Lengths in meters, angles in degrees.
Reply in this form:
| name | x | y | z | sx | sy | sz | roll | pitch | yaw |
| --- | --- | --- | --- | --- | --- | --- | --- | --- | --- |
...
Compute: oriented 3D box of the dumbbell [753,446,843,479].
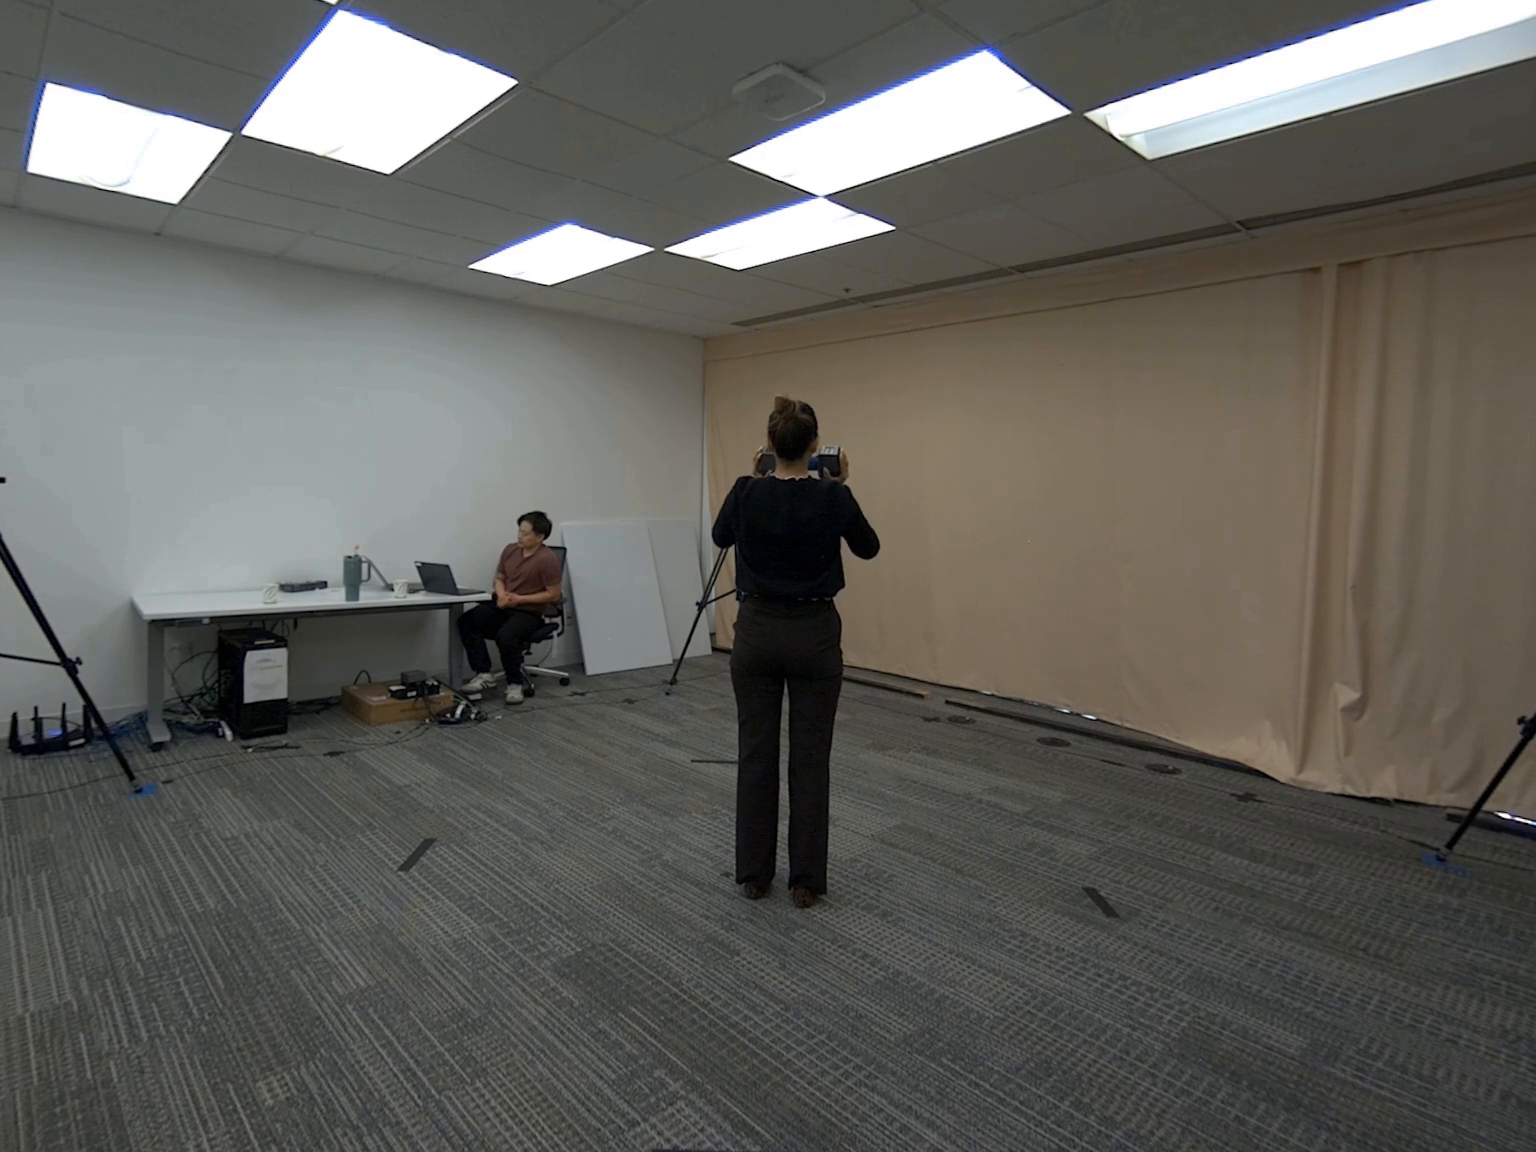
| name | x | y | z | sx | sy | sz | roll | pitch | yaw |
| --- | --- | --- | --- | --- | --- | --- | --- | --- | --- |
| dumbbell | 0.115 | -0.406 | 3.044 | 0.297 | 0.110 | 0.120 | -1 | -25 | 16 |
